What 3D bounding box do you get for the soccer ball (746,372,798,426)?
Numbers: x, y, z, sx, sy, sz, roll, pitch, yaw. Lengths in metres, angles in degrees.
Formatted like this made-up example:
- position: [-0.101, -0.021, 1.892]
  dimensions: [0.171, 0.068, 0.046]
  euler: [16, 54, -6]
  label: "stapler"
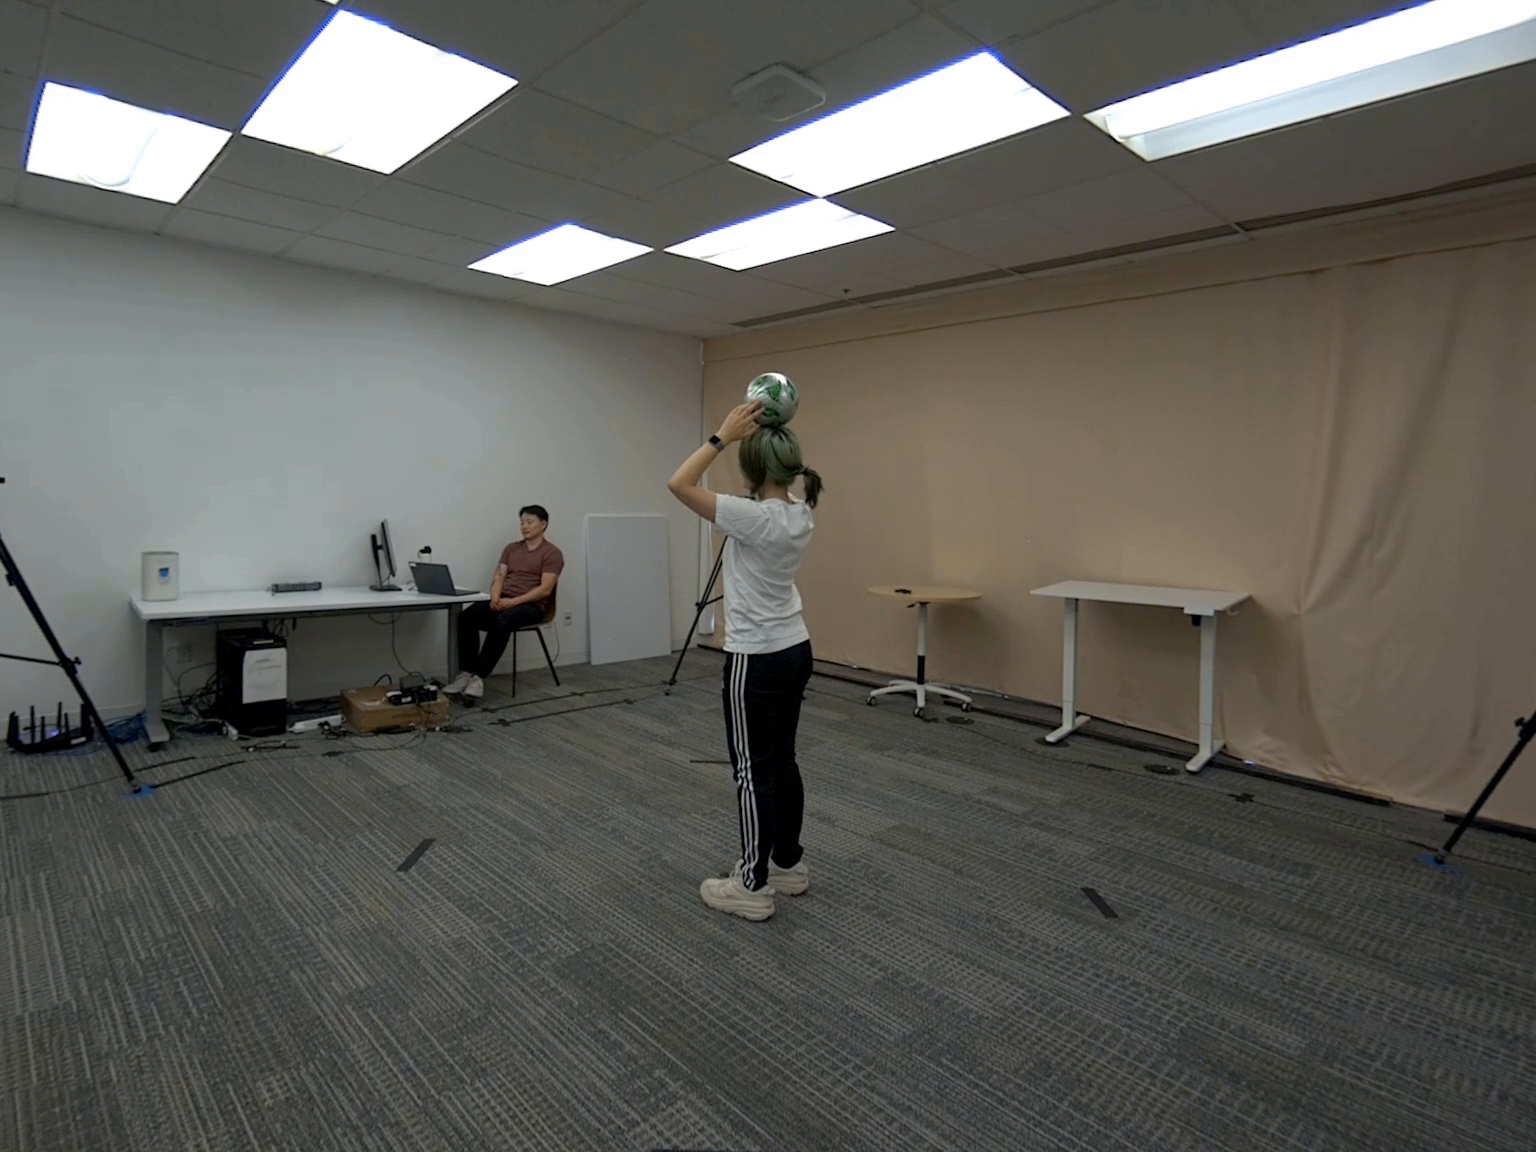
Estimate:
- position: [0.009, -0.596, 2.858]
  dimensions: [0.187, 0.187, 0.188]
  euler: [1, 4, -1]
  label: "soccer ball"
